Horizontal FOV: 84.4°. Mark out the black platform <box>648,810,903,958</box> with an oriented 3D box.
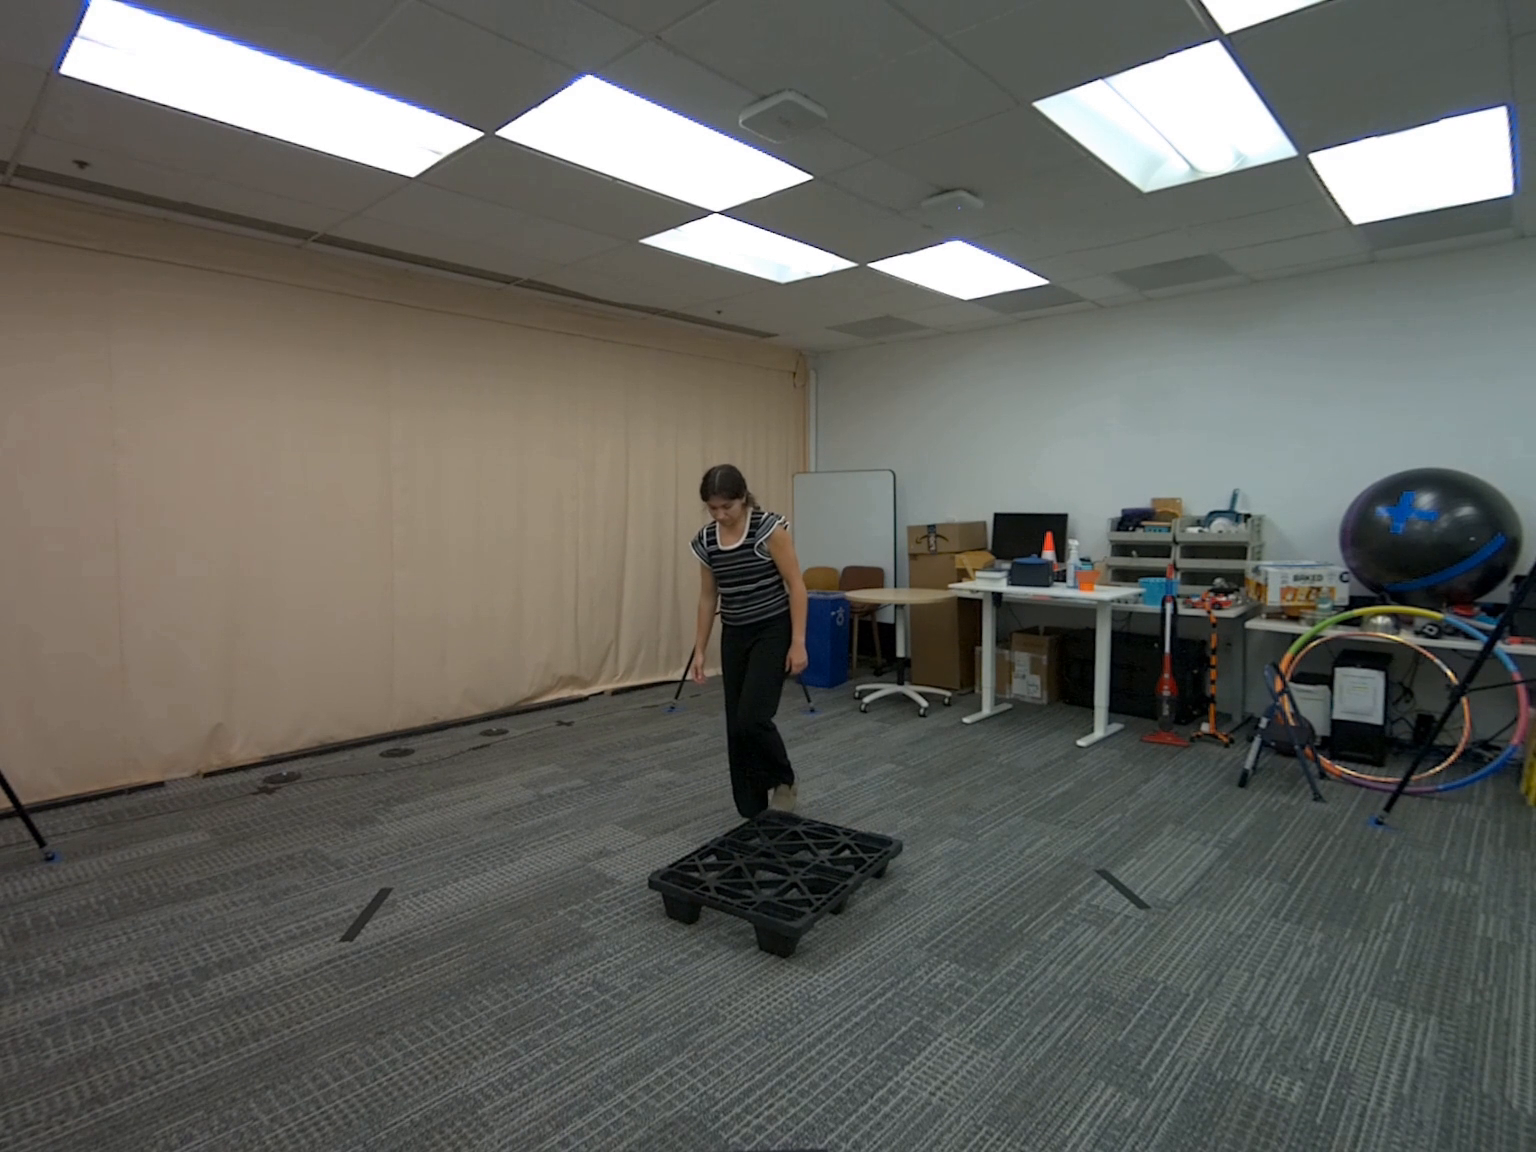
[{"bbox_3d":[0.058,1.074,3.010,0.624,0.143,0.783,4,7,34],"label":"black platform"}]
